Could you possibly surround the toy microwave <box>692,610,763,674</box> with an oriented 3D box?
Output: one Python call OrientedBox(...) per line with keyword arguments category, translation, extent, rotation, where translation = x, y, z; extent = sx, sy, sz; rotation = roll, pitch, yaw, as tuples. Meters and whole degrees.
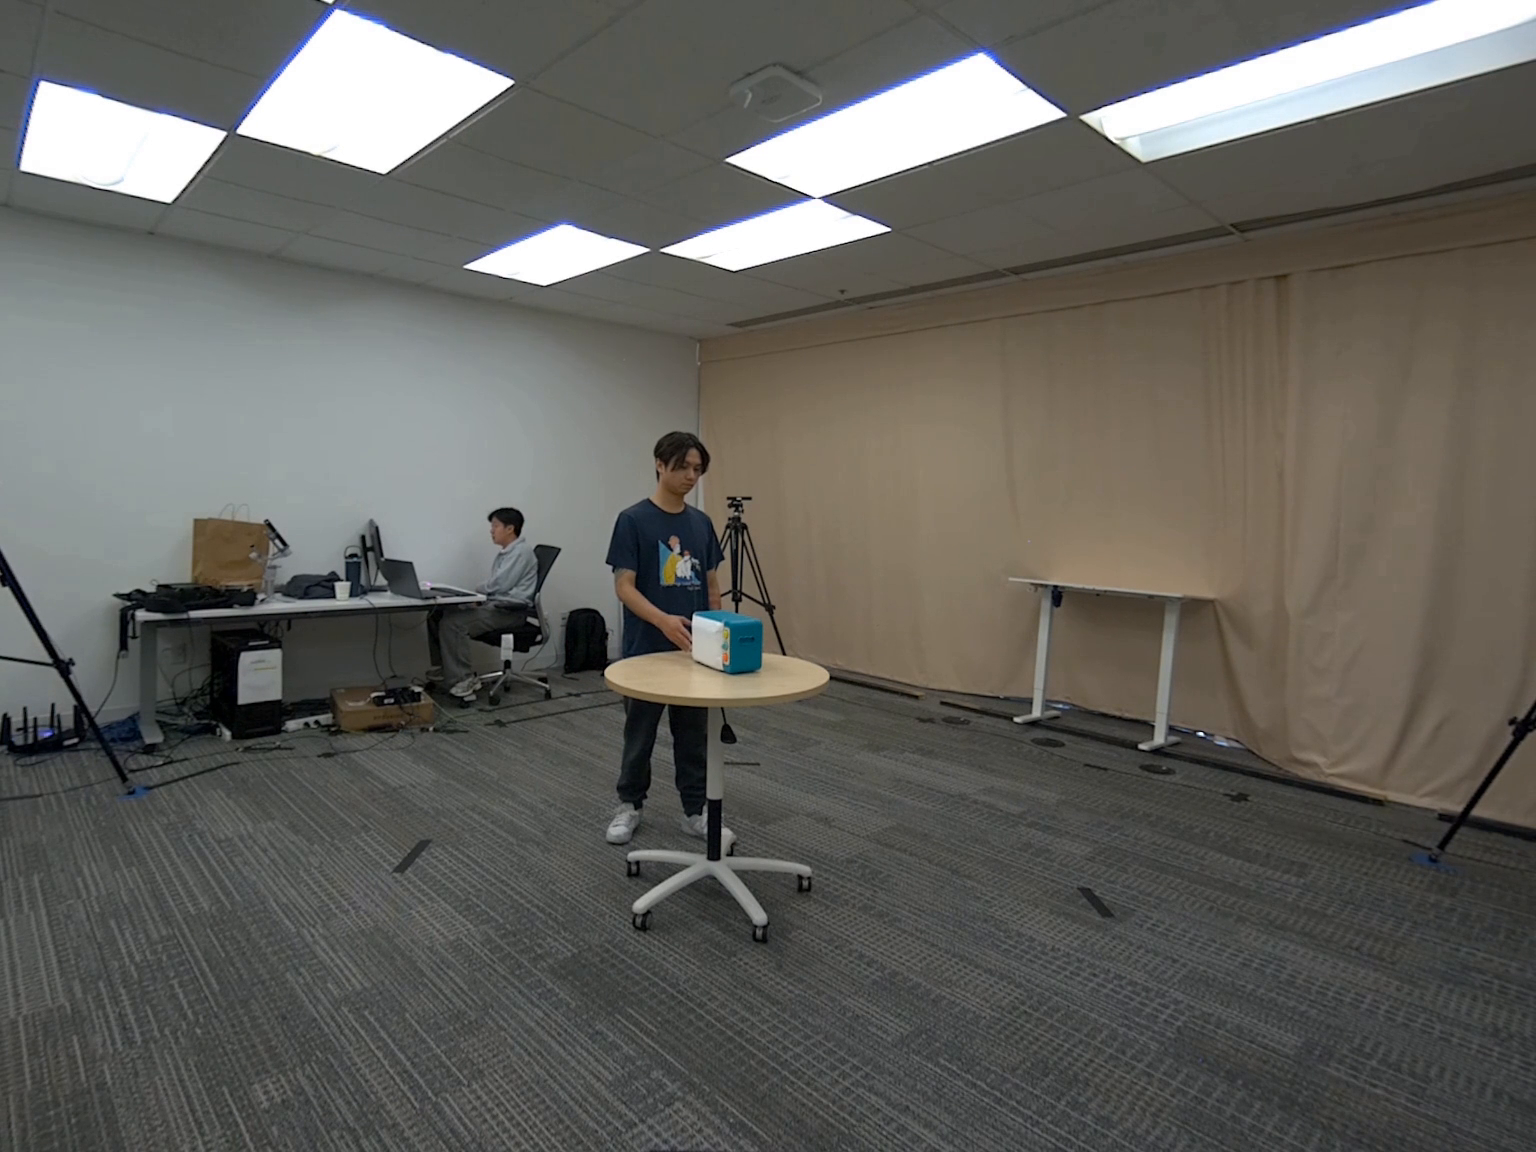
OrientedBox(category="toy microwave", translation=(-0.156, 0.230, 2.944), extent=(0.149, 0.183, 0.293), rotation=(-1, 5, -32))
